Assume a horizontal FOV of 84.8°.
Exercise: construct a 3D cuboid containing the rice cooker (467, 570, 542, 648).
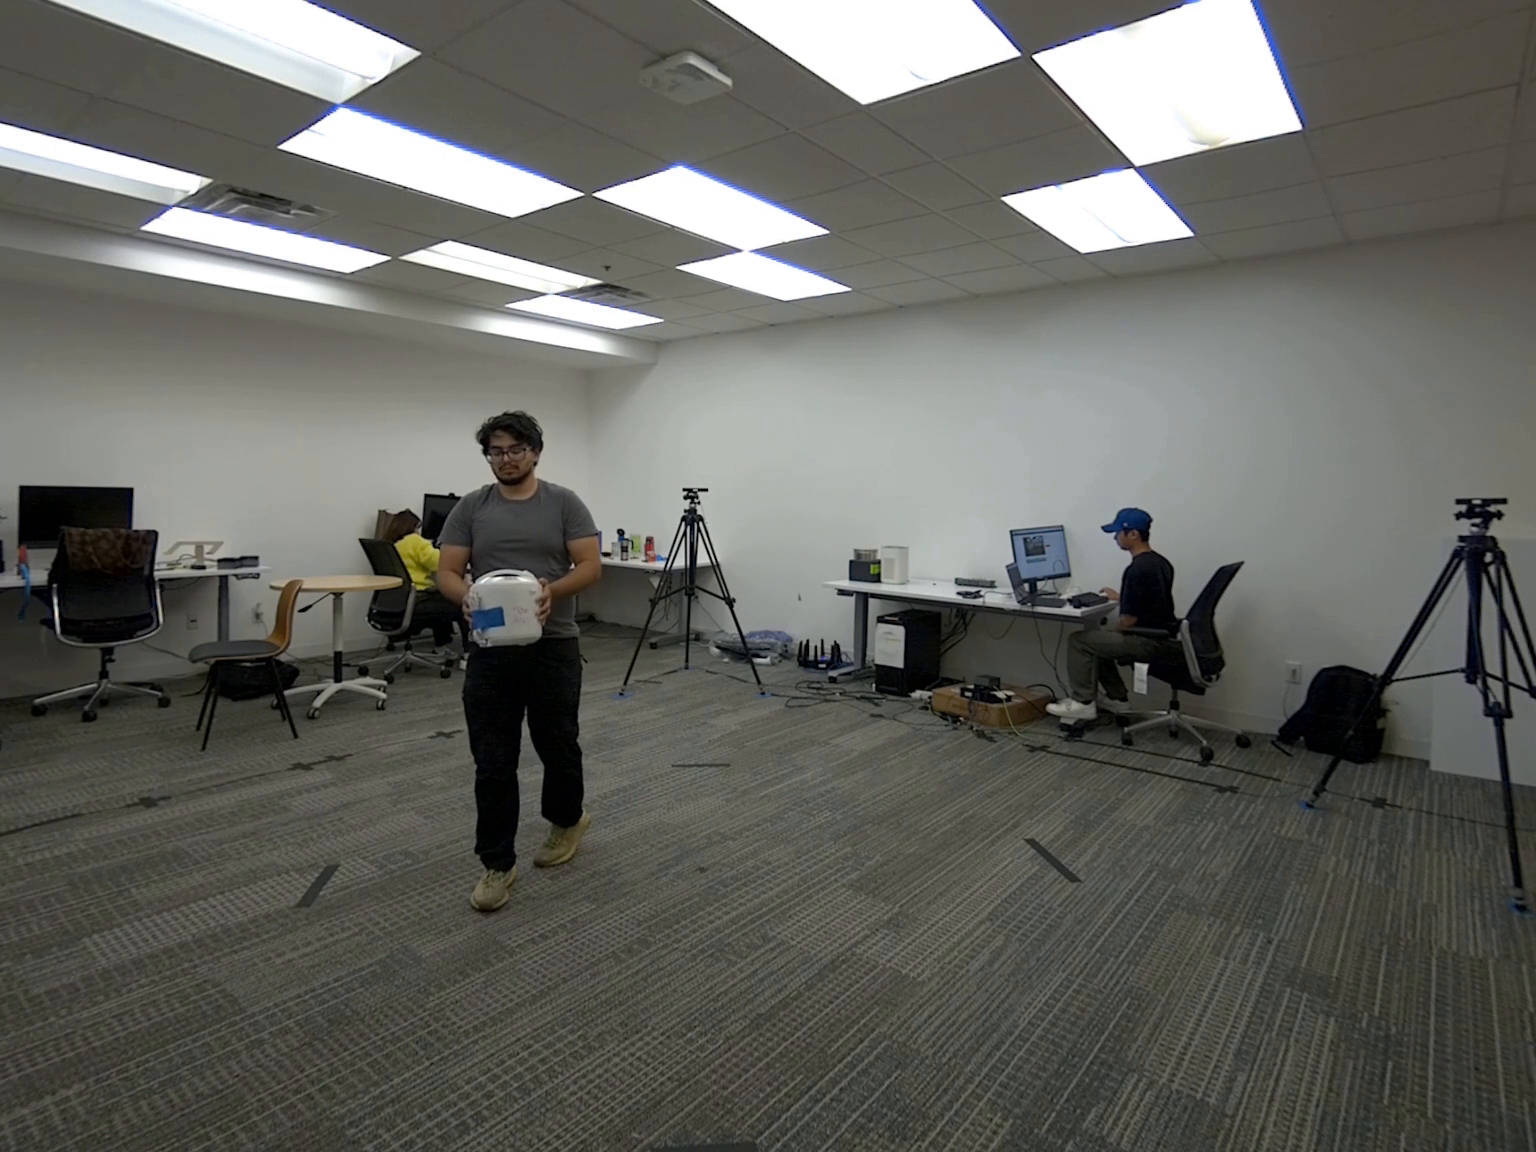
[{"bbox_3d":[-0.826,0.094,2.628,0.218,0.234,0.219,-1,-3,-12],"label":"rice cooker"}]
